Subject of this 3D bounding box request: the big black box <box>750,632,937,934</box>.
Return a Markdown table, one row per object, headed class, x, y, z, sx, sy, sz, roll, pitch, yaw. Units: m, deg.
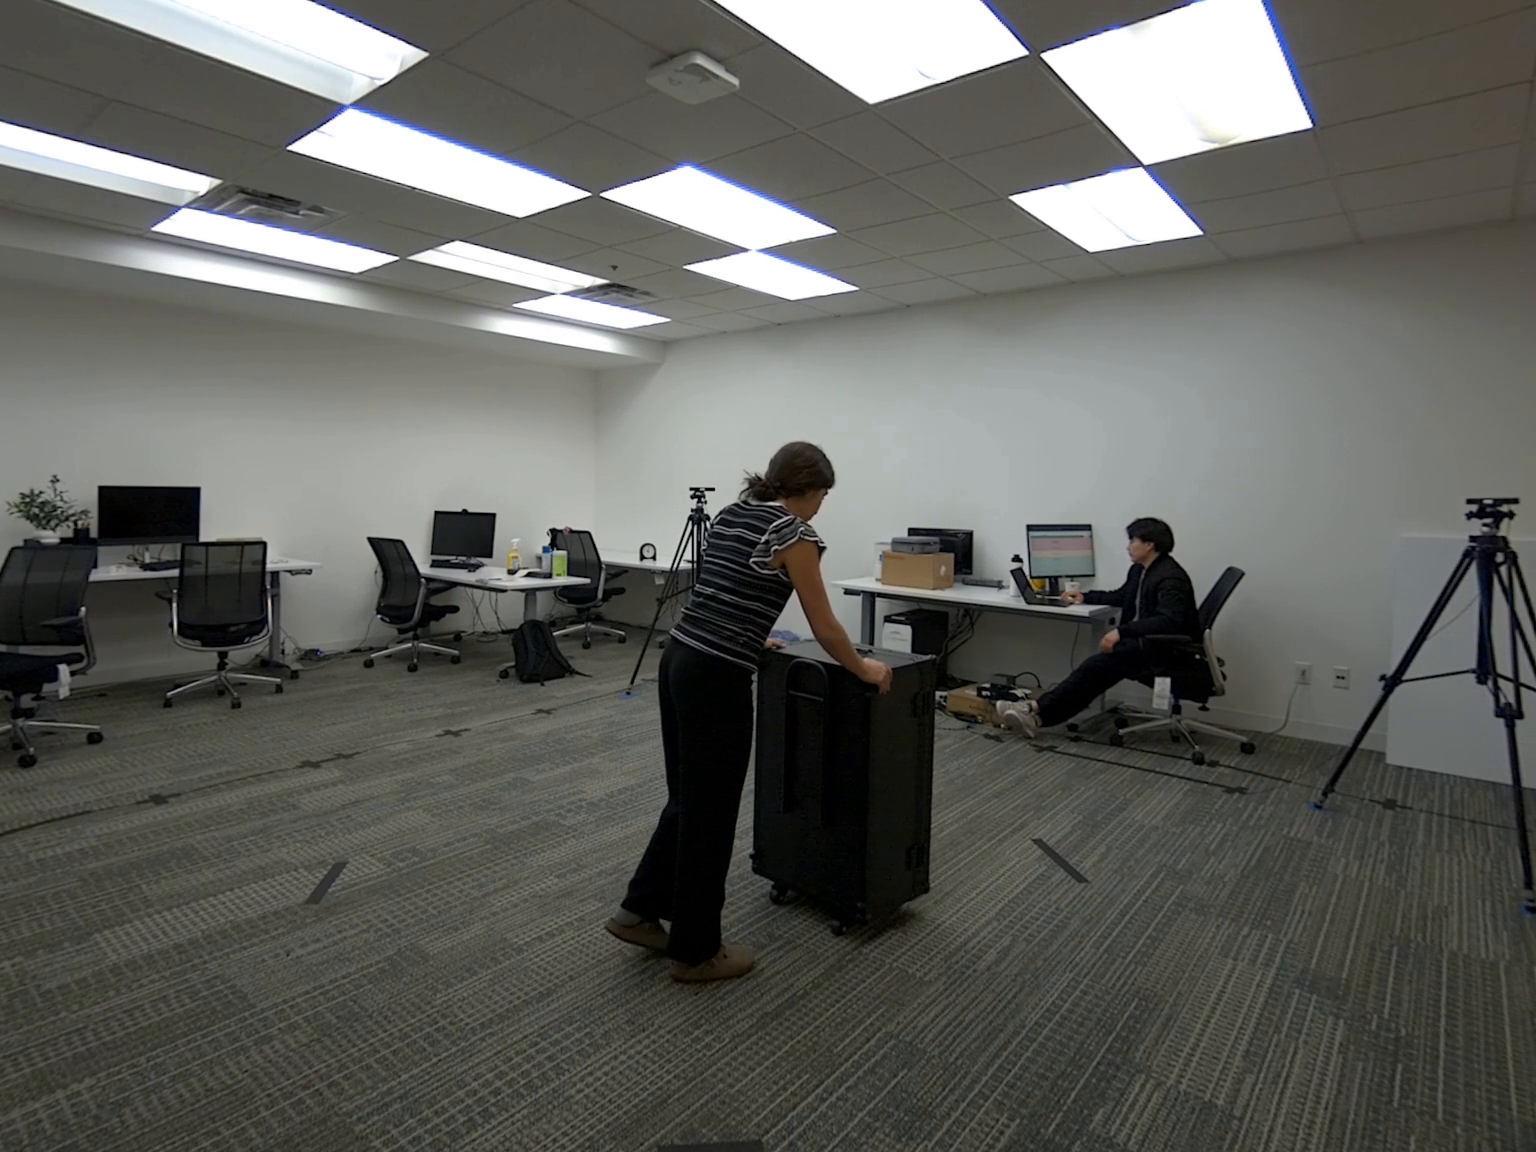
| class | x | y | z | sx | sy | sz | roll | pitch | yaw |
| --- | --- | --- | --- | --- | --- | --- | --- | --- | --- |
| big black box | 0.239 | 0.678 | 2.842 | 0.384 | 0.859 | 0.539 | -2 | 4 | -44 |
